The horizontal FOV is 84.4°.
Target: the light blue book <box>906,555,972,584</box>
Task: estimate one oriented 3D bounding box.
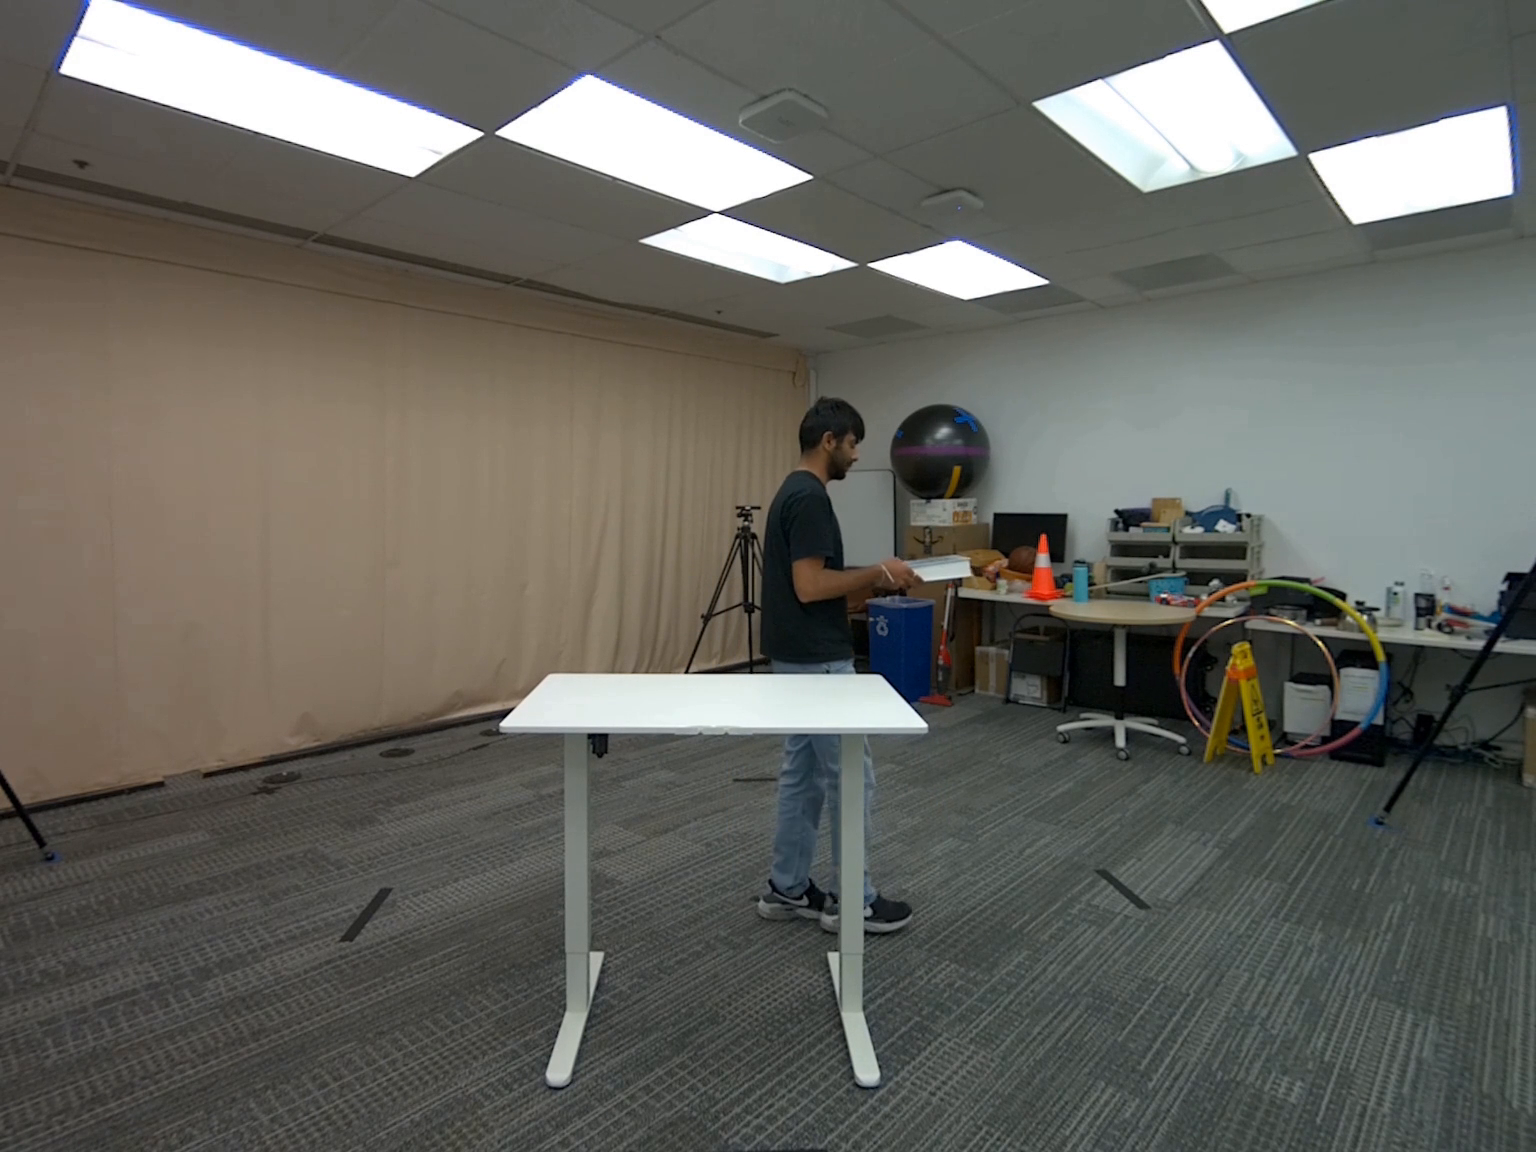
[{"bbox_3d":[0.531,-0.019,2.793,0.261,0.059,0.192,-5,6,1],"label":"light blue book"}]
